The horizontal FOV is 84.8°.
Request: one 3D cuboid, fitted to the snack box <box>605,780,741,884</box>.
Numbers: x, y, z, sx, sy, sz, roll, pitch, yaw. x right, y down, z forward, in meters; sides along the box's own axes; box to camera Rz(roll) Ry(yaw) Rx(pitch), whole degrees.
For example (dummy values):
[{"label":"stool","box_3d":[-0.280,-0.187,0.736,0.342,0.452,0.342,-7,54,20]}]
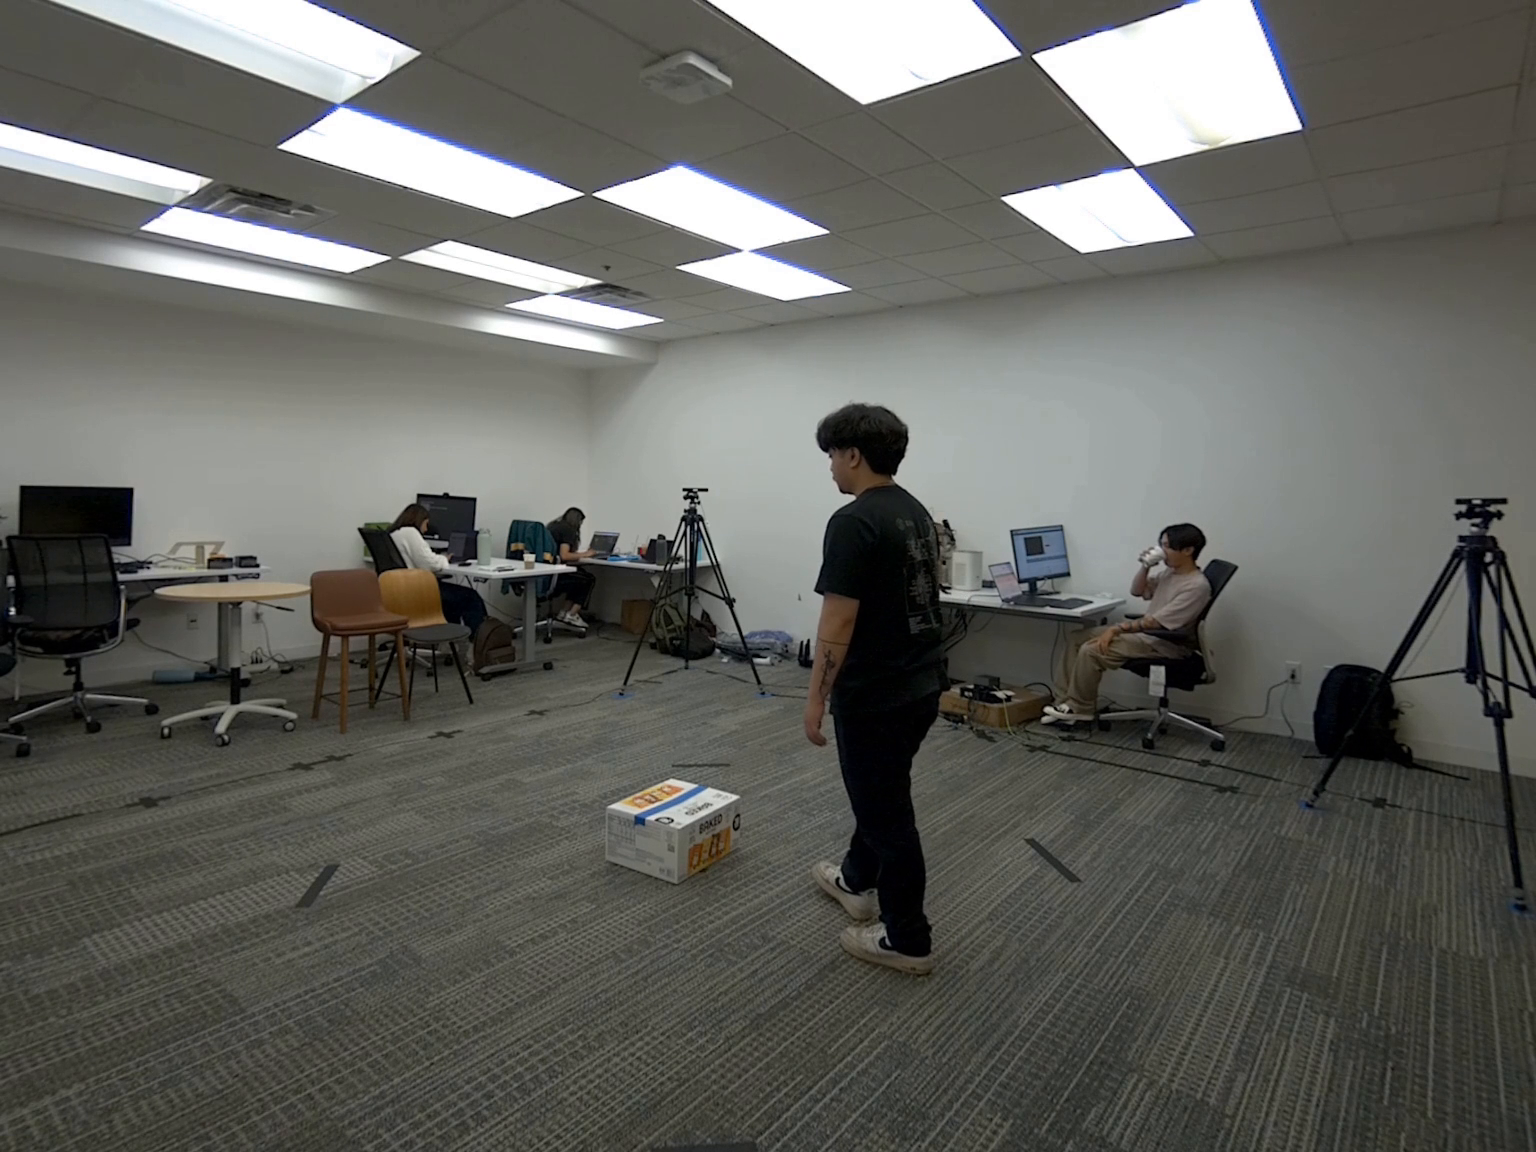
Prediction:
[{"label":"snack box","box_3d":[-0.365,0.953,3.225,0.351,0.205,0.394,4,5,32]}]
